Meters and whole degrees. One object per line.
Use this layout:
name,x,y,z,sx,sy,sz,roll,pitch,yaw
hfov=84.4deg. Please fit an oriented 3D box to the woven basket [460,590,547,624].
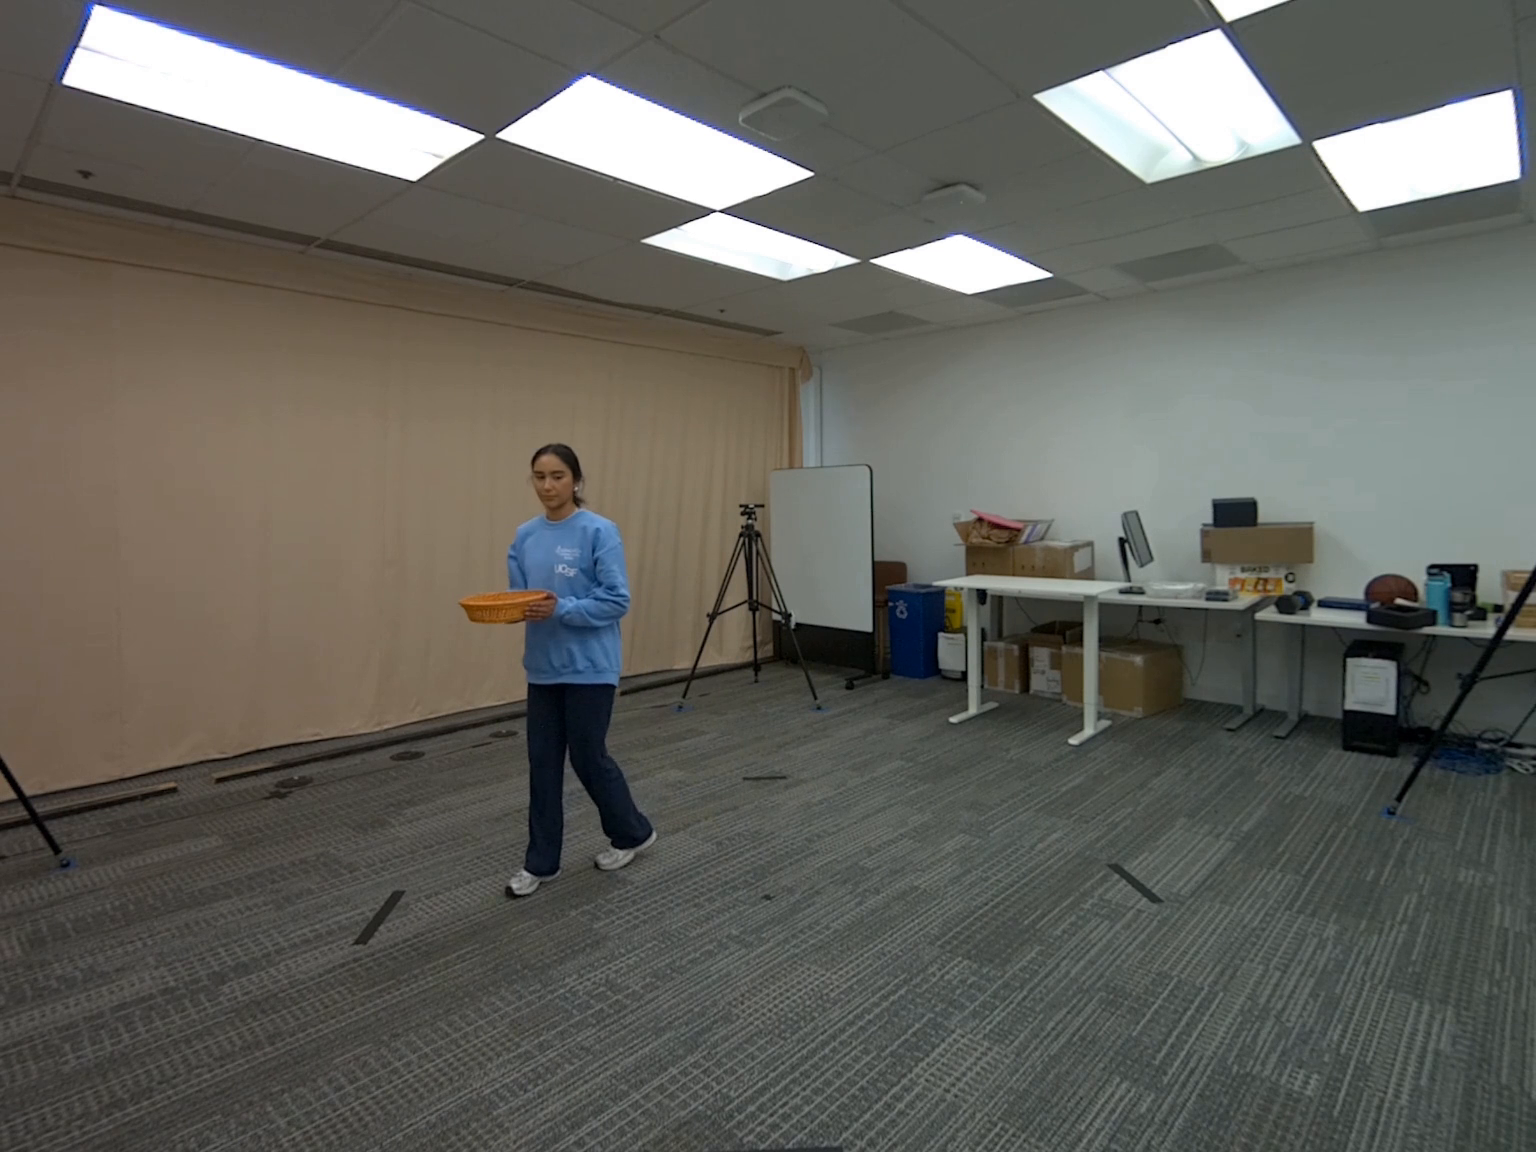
woven basket,-0.881,0.110,2.924,0.349,0.073,0.254,-2,6,-3
